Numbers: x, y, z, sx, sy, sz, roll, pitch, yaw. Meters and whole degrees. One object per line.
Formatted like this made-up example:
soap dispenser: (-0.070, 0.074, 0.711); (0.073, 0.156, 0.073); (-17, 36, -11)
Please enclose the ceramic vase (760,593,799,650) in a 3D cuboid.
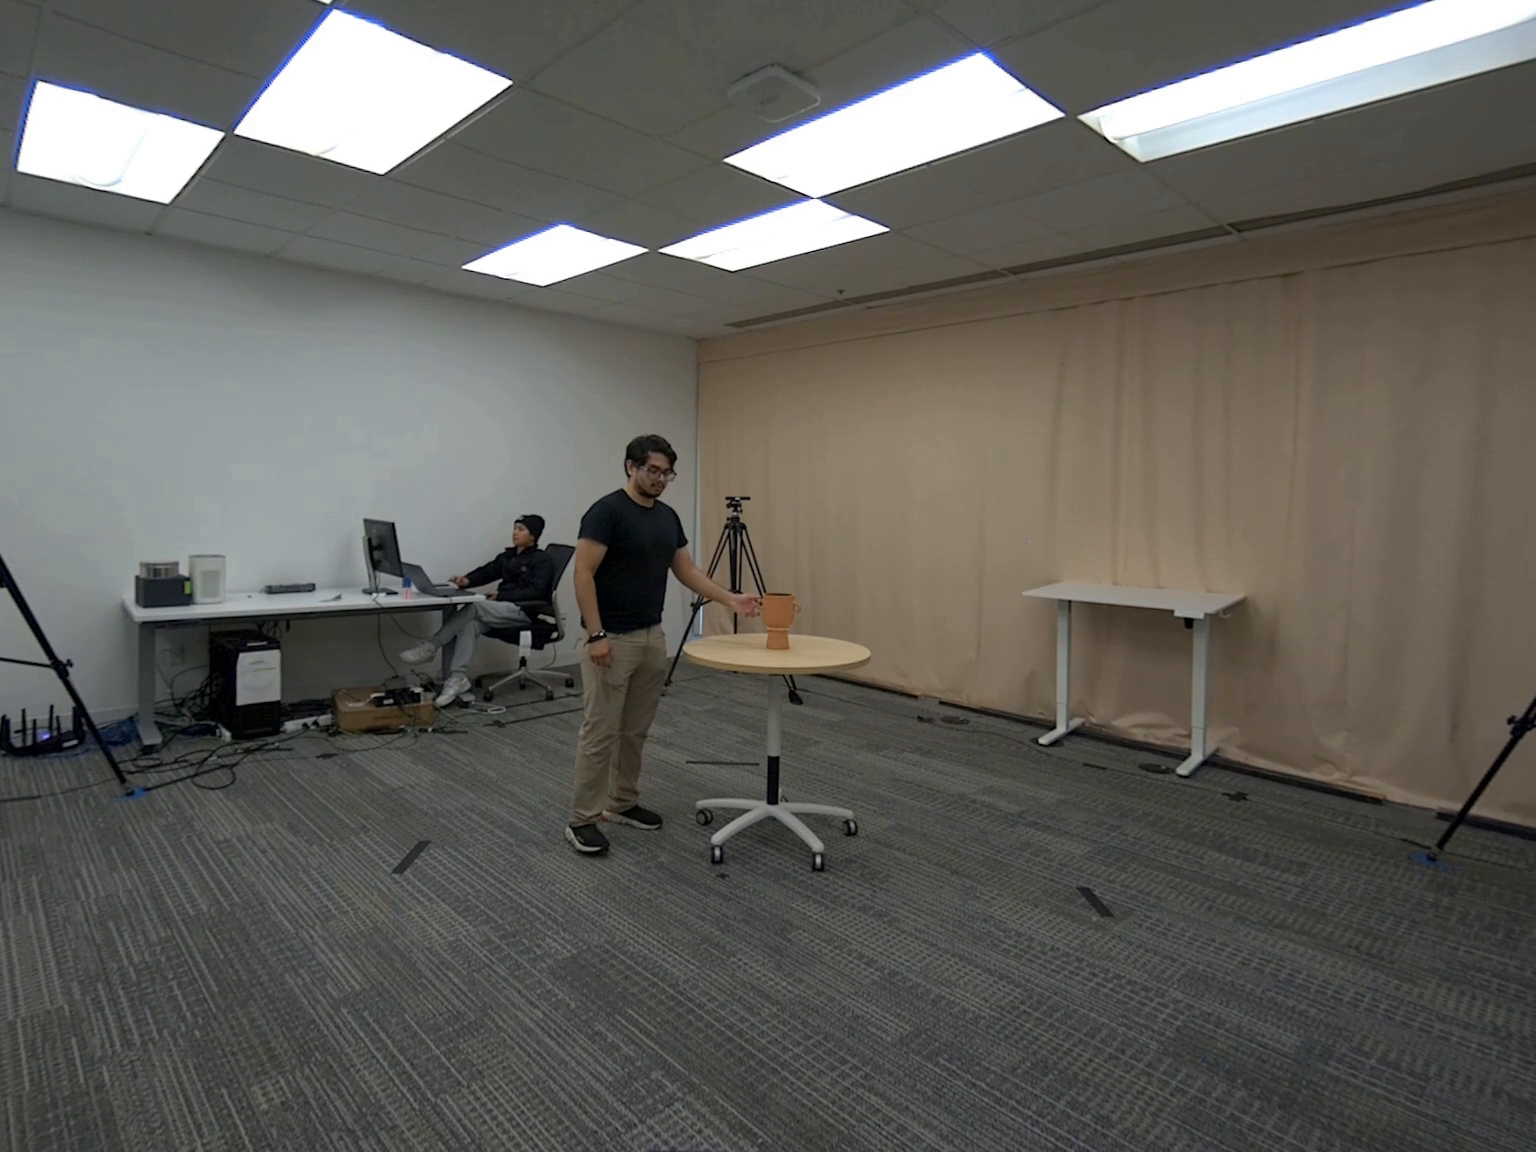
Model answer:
ceramic vase: (0.034, 0.183, 3.459); (0.132, 0.219, 0.162); (-2, 6, -26)
